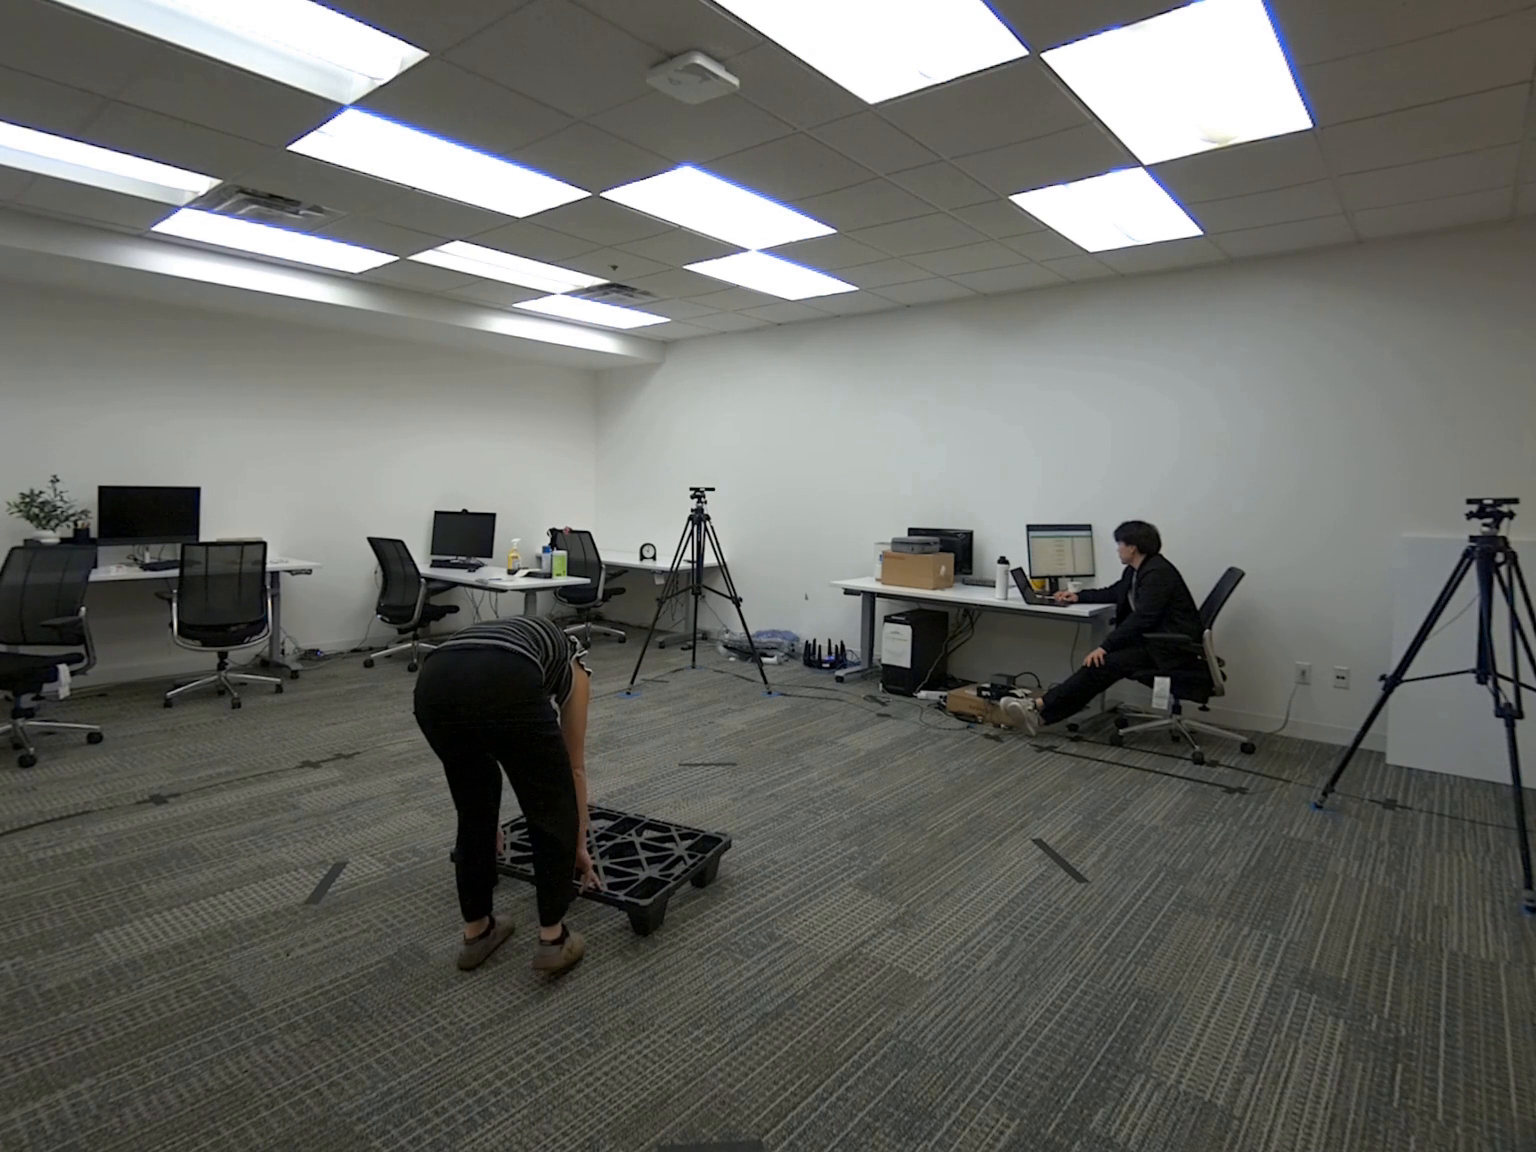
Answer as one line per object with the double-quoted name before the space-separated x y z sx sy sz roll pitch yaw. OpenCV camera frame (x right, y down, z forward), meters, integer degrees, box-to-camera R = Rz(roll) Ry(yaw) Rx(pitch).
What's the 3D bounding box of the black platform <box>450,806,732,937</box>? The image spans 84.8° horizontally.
"black platform" -0.618 1.002 3.001 0.827 0.143 0.591 4 6 25
